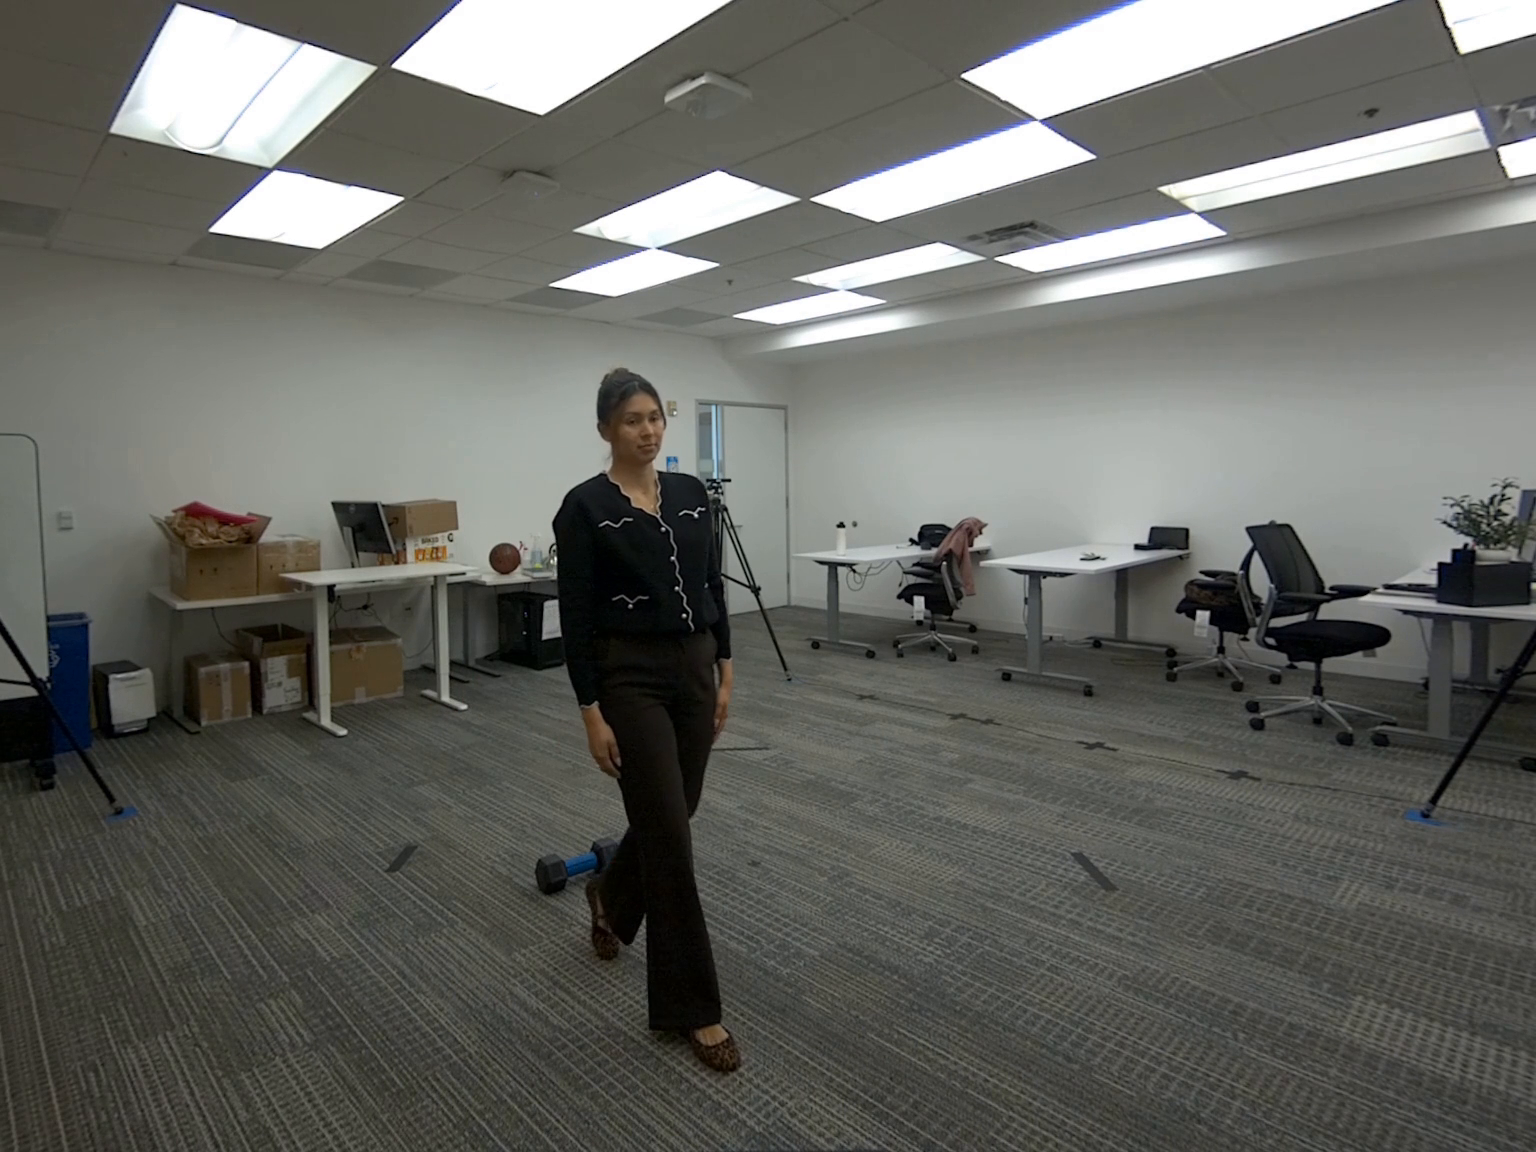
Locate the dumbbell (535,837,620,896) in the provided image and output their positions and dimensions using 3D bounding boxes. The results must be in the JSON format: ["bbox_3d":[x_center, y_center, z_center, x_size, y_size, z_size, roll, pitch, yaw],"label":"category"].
[{"bbox_3d":[-0.662,1.016,2.999,0.286,0.126,0.109,-6,-24,-39],"label":"dumbbell"}]
